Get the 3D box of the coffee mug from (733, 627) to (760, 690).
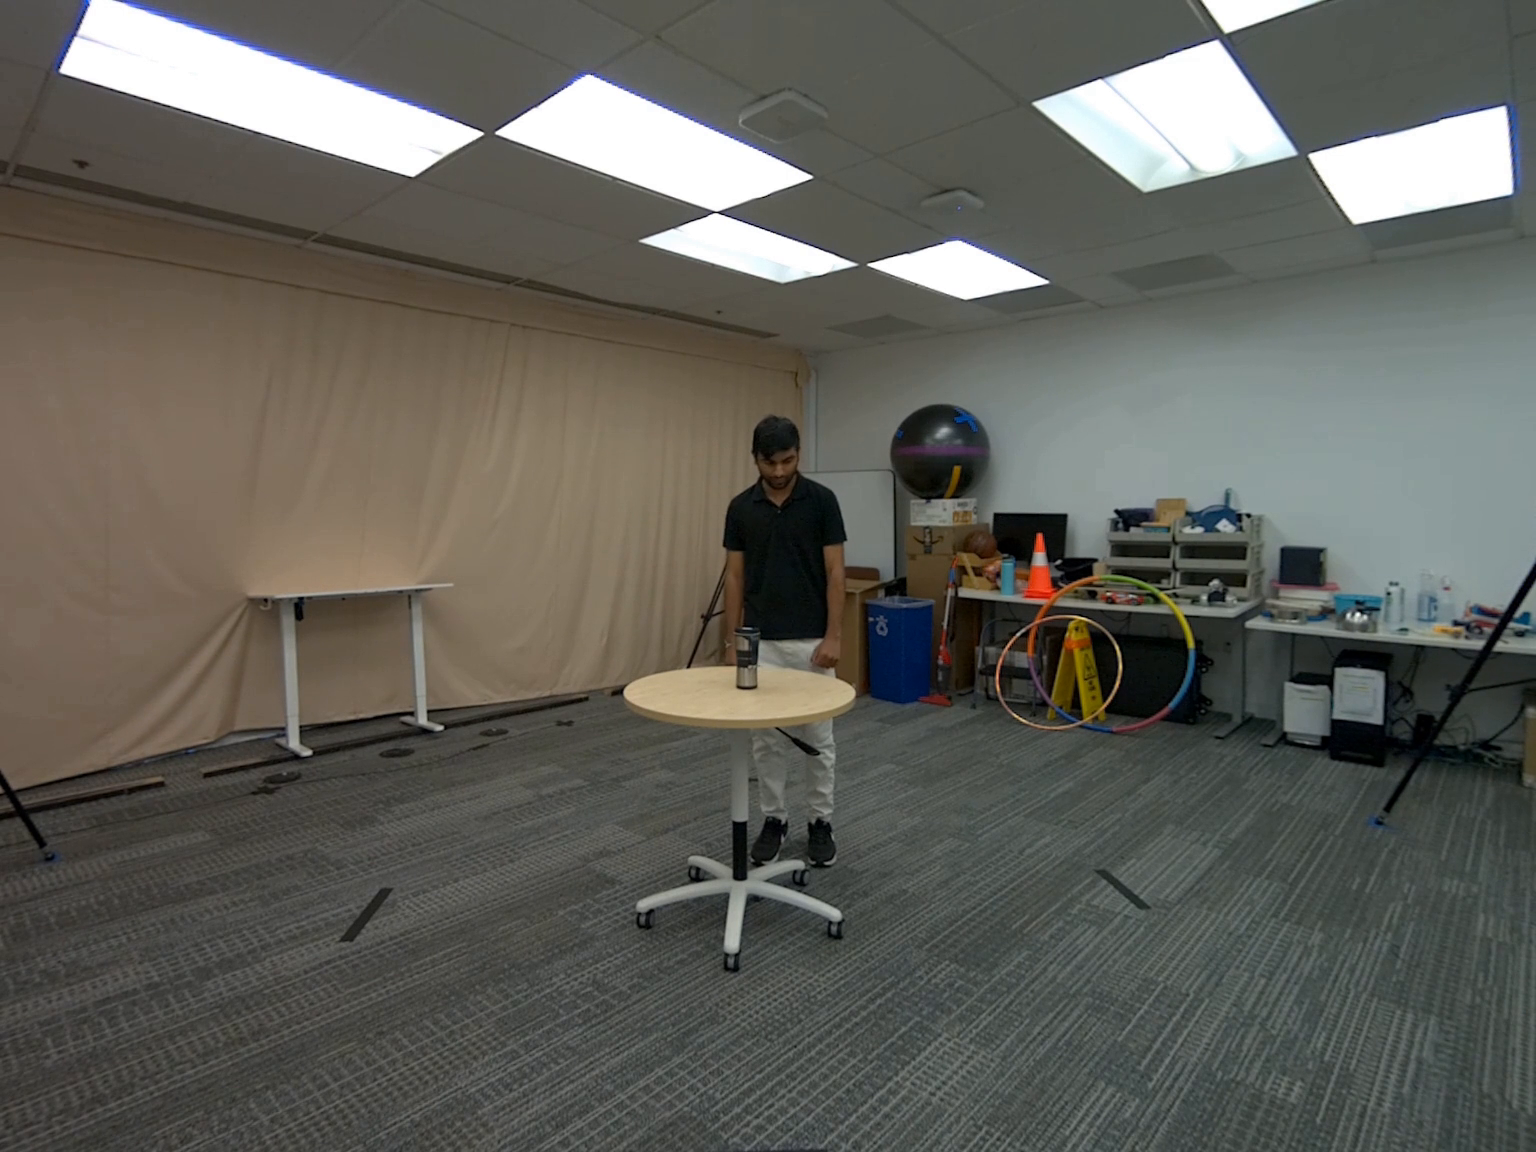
[{"bbox_3d":[-0.074,0.277,2.801,0.088,0.203,0.121,2,0,2],"label":"coffee mug"}]
